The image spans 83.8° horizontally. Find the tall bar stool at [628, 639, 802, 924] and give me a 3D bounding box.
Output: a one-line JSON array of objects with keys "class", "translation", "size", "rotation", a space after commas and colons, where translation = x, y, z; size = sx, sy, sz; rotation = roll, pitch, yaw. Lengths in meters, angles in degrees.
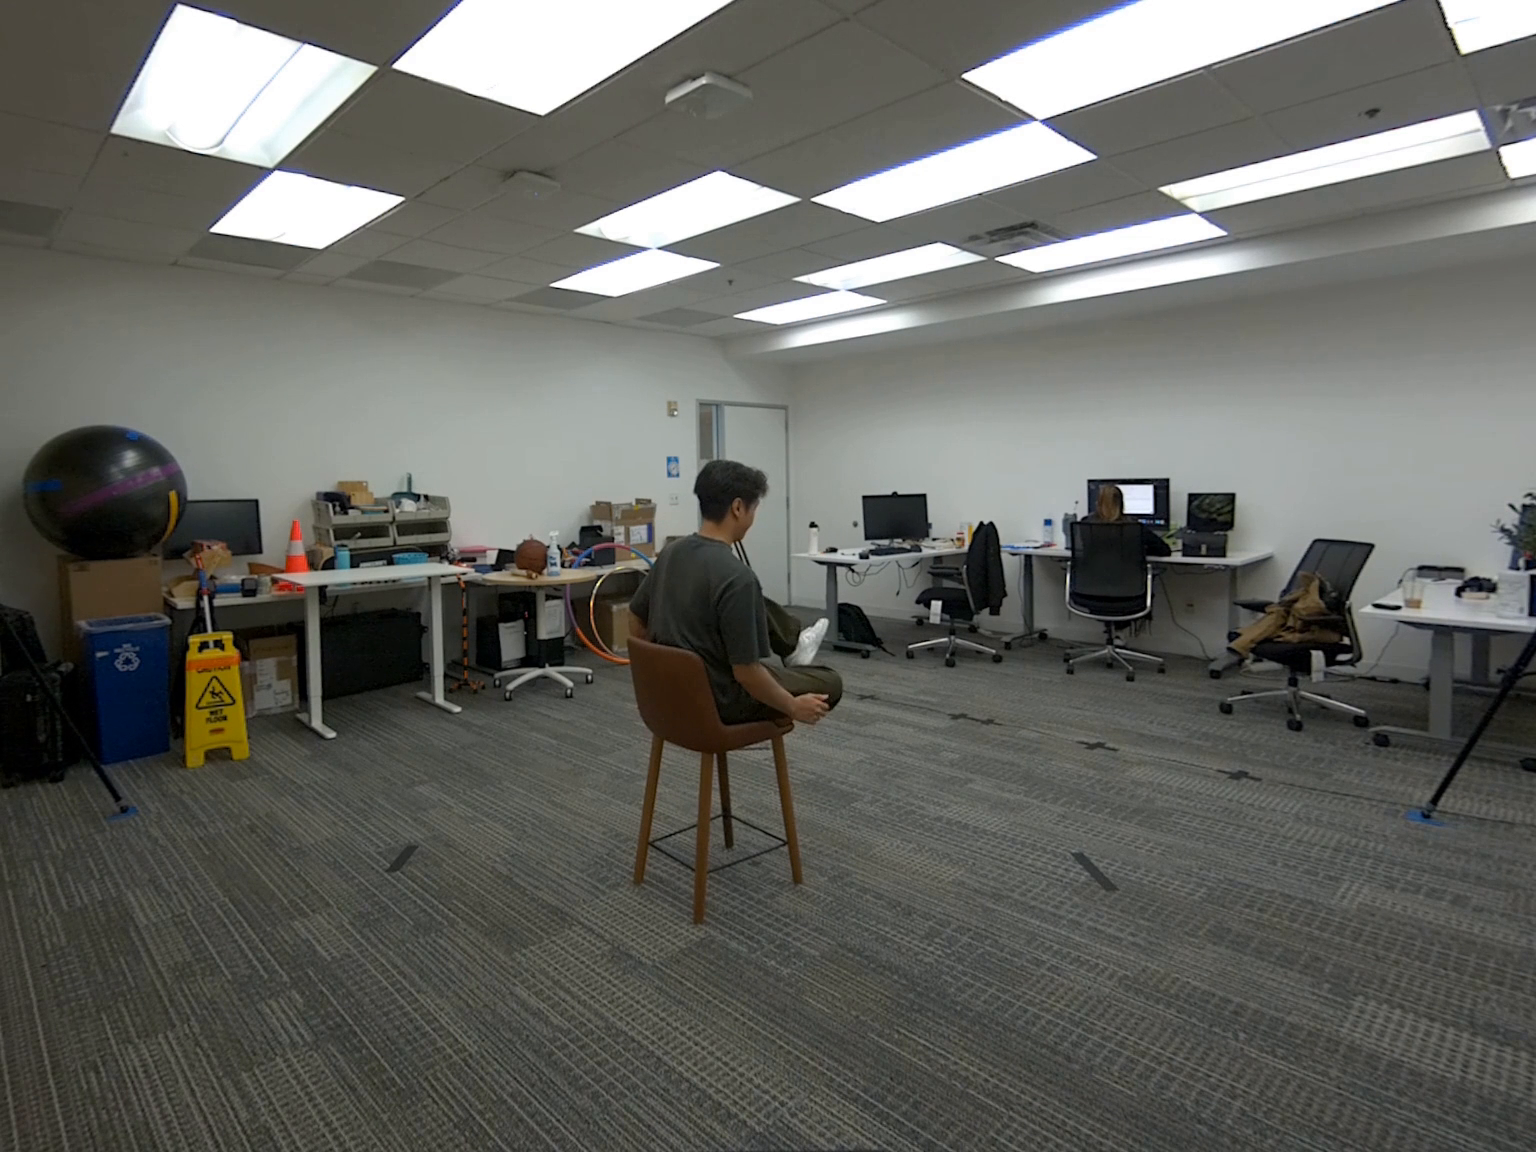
[{"class": "tall bar stool", "translation": [-0.188, 0.631, 2.937], "size": [0.456, 0.885, 0.470], "rotation": [-7, 7, -40]}]
